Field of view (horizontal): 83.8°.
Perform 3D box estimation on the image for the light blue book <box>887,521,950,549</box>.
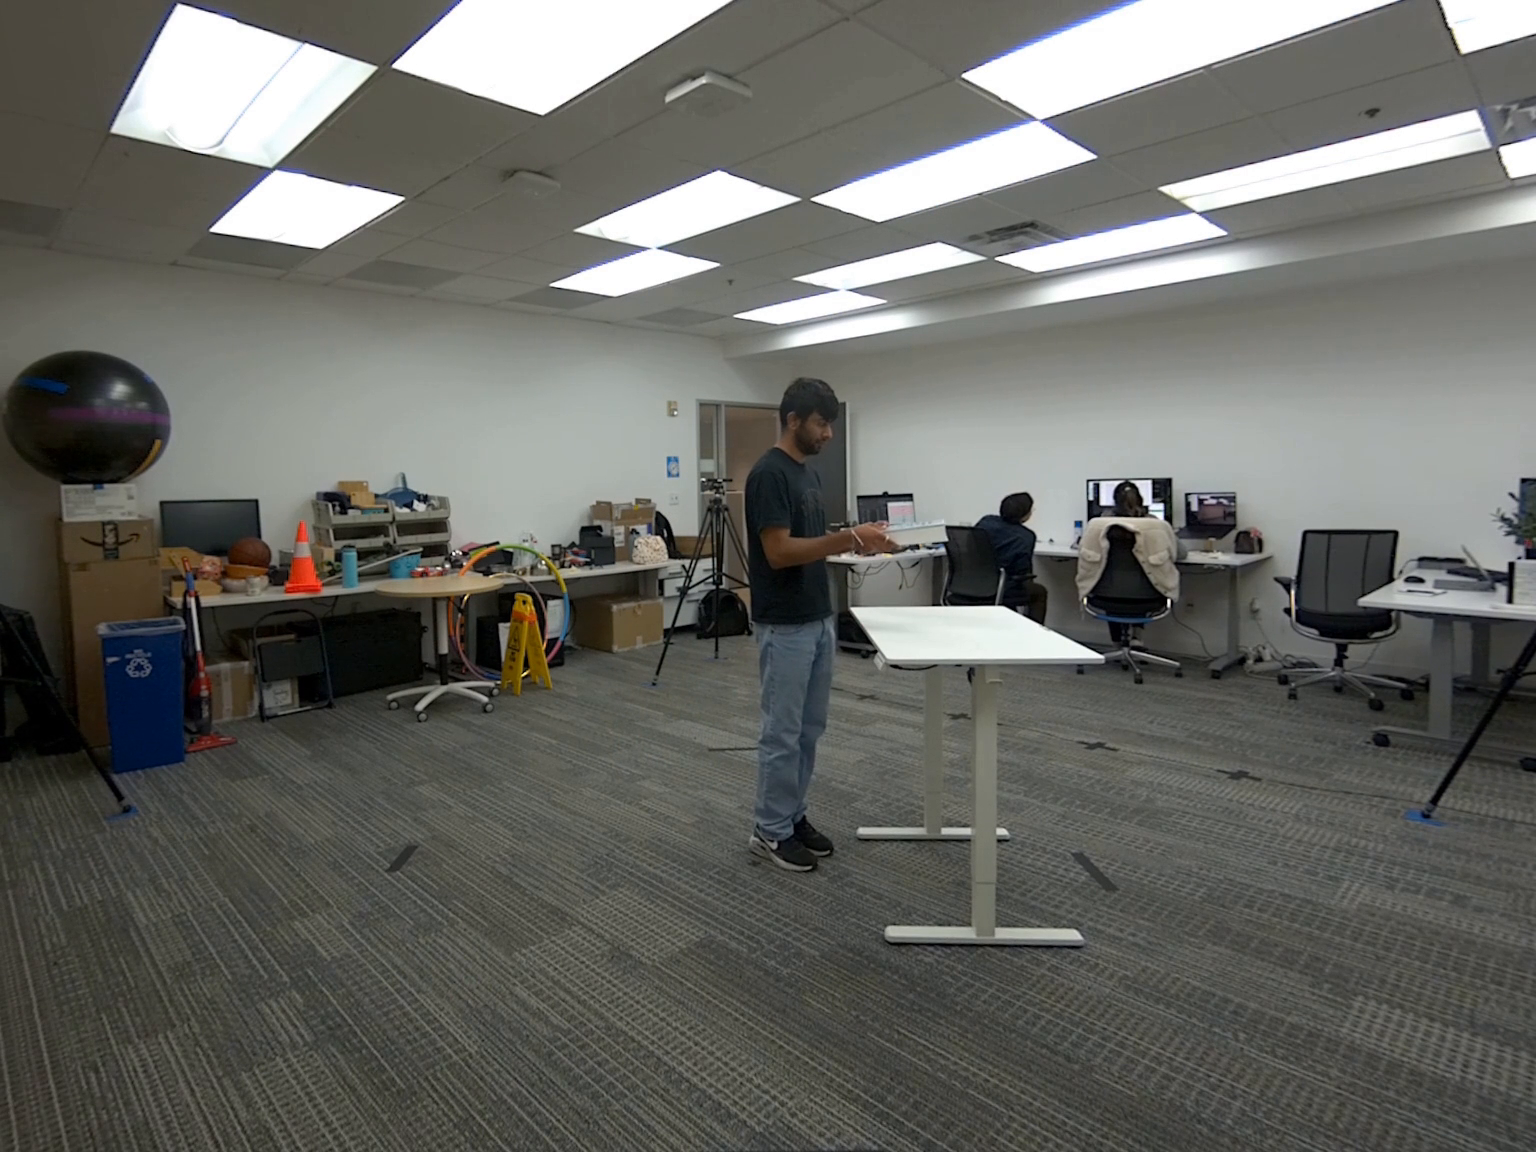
[{"bbox_3d":[0.484,-0.139,2.932,0.264,0.058,0.190,-4,8,14],"label":"light blue book"}]
